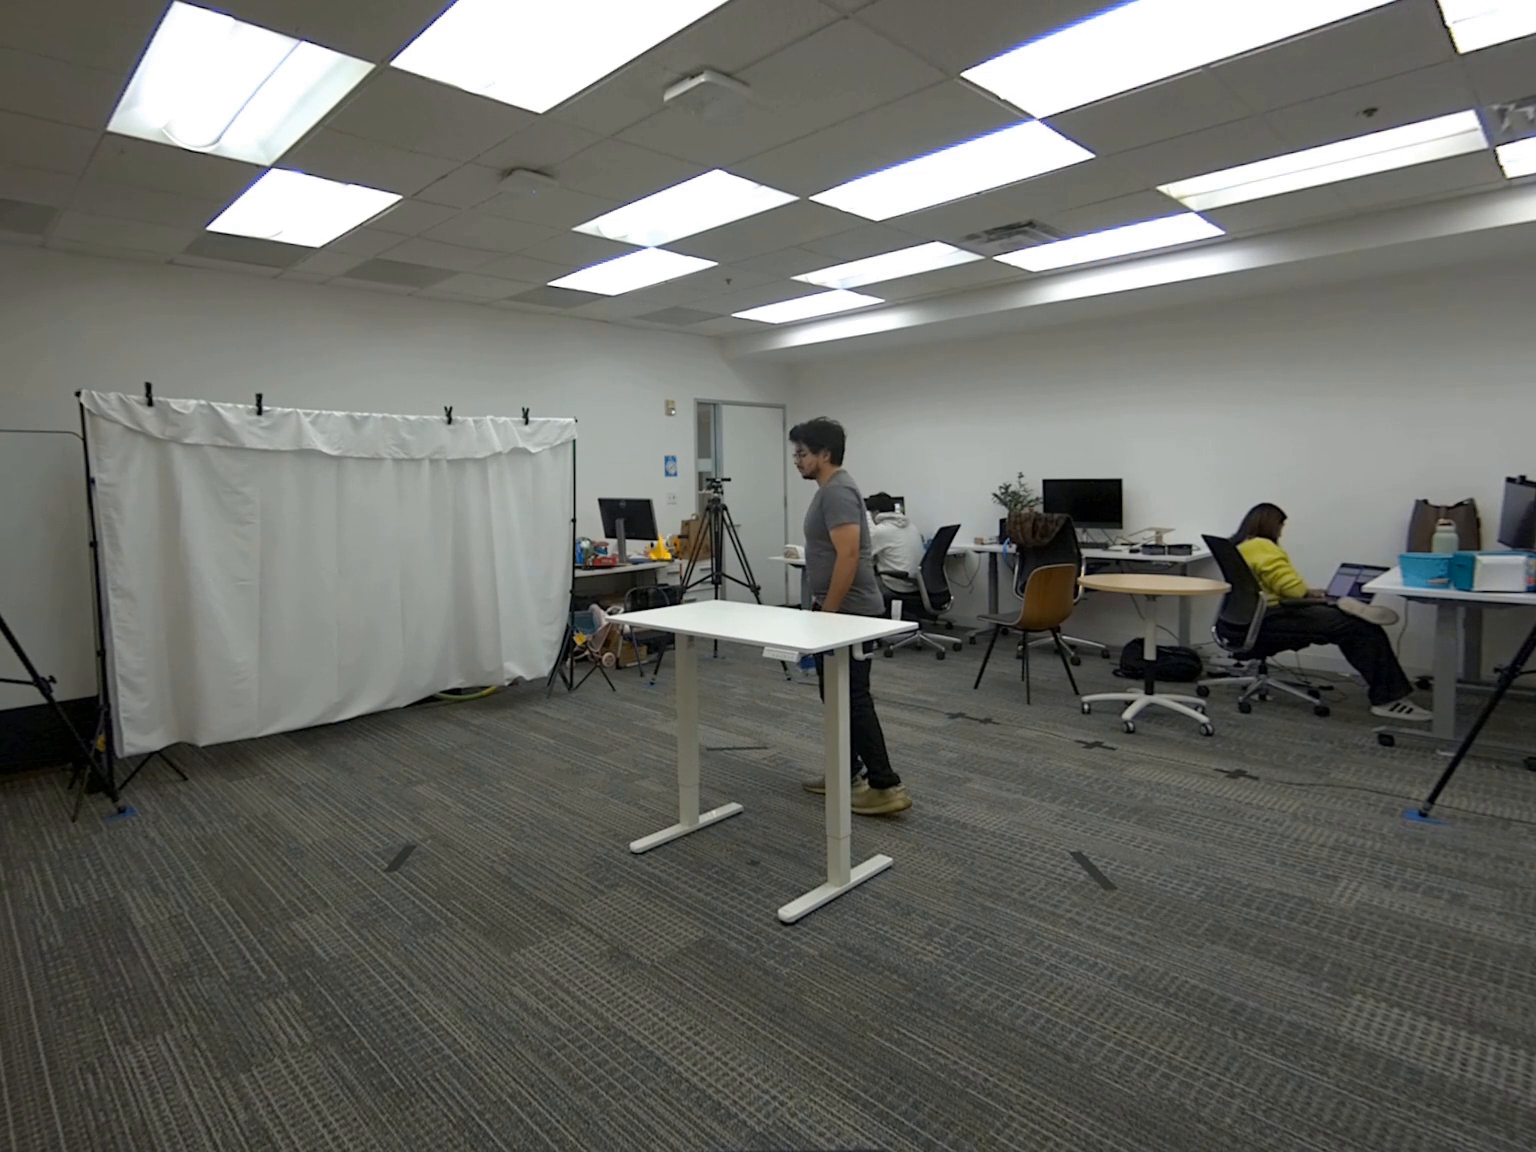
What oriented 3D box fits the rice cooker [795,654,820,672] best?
[{"bbox_3d":[0.239,0.341,4.043,0.220,0.230,0.221,-2,15,-5],"label":"rice cooker"}]
